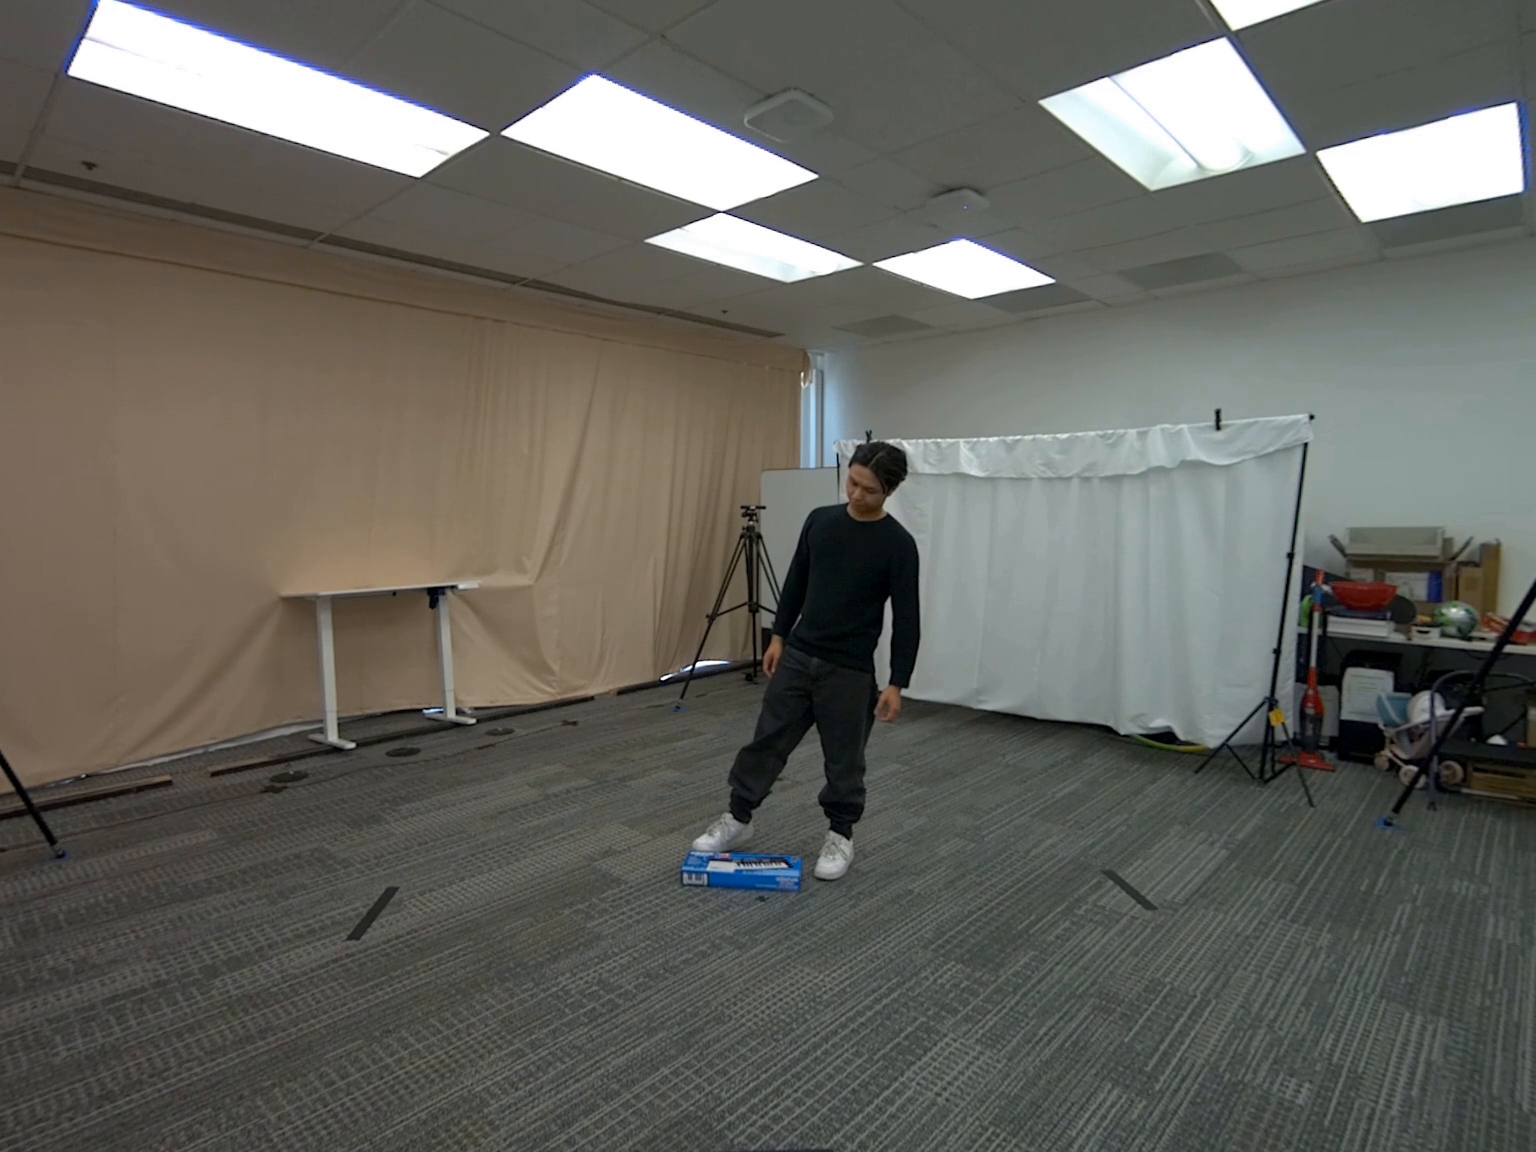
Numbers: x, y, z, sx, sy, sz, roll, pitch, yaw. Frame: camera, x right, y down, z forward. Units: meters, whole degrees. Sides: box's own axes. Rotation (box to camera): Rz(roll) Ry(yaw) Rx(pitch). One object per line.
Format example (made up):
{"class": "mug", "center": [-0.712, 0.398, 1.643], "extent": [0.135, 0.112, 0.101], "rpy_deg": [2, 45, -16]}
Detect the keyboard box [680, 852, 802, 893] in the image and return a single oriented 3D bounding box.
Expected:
{"class": "keyboard box", "center": [-0.090, 1.100, 3.136], "extent": [0.441, 0.059, 0.175], "rpy_deg": [0, 6, 8]}
